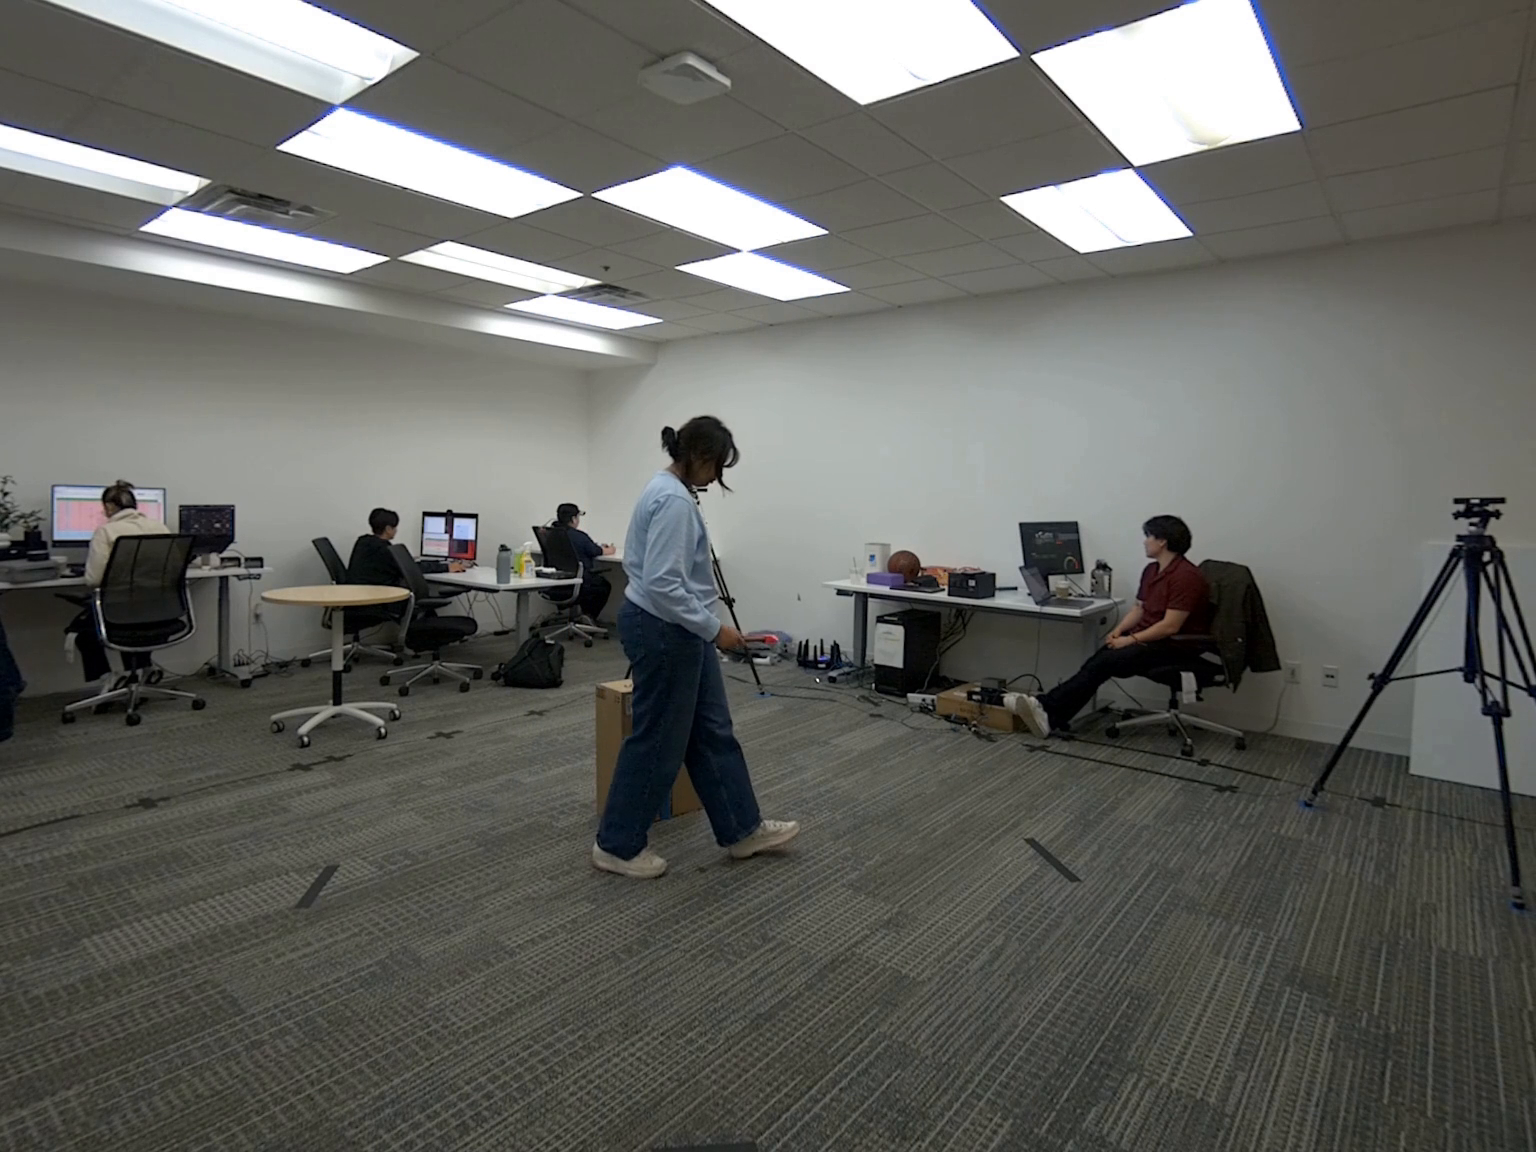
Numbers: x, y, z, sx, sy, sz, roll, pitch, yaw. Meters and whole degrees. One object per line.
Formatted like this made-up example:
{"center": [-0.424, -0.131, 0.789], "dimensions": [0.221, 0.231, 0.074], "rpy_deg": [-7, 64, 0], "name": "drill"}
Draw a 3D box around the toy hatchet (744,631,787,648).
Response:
{"center": [-0.105, 0.223, 3.020], "dimensions": [0.269, 0.029, 0.132], "rpy_deg": [1, 3, -3], "name": "toy hatchet"}
